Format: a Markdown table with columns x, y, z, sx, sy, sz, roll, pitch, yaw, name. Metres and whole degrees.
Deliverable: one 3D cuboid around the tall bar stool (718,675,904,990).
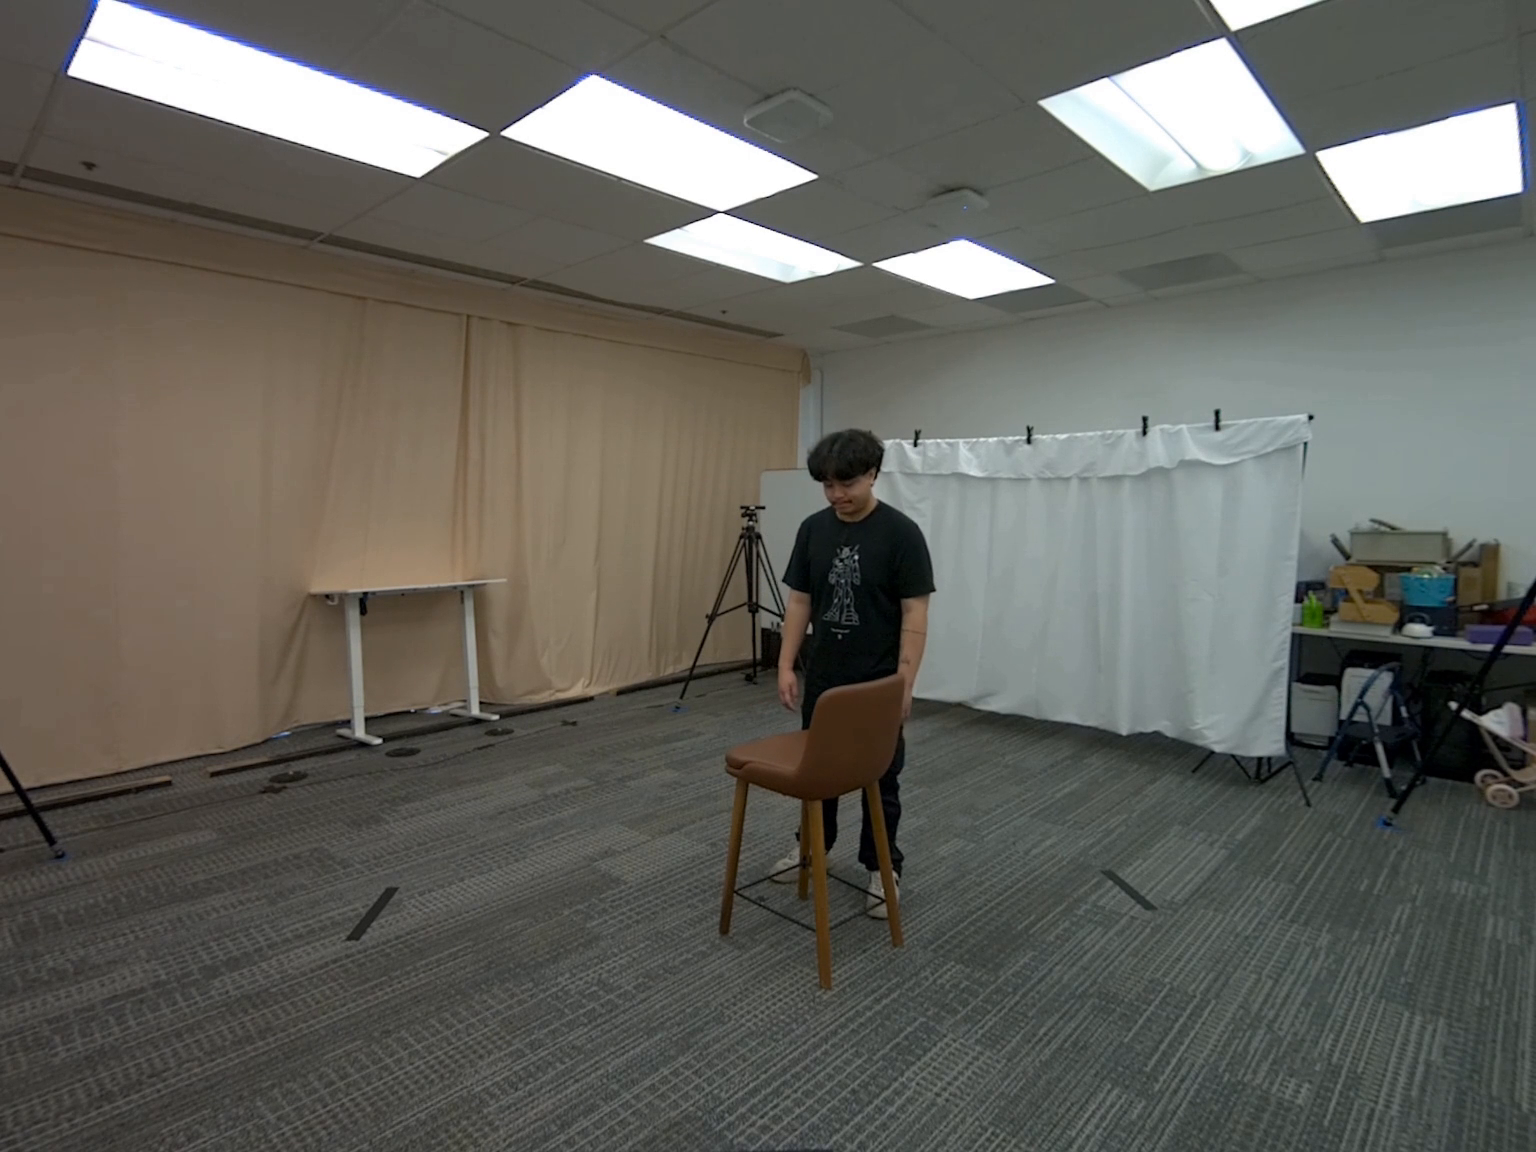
| x | y | z | sx | sy | sz | roll | pitch | yaw | name |
| --- | --- | --- | --- | --- | --- | --- | --- | --- | --- |
| 0.143 | 0.737 | 2.675 | 0.442 | 0.887 | 0.484 | -4 | 7 | -43 | tall bar stool |
